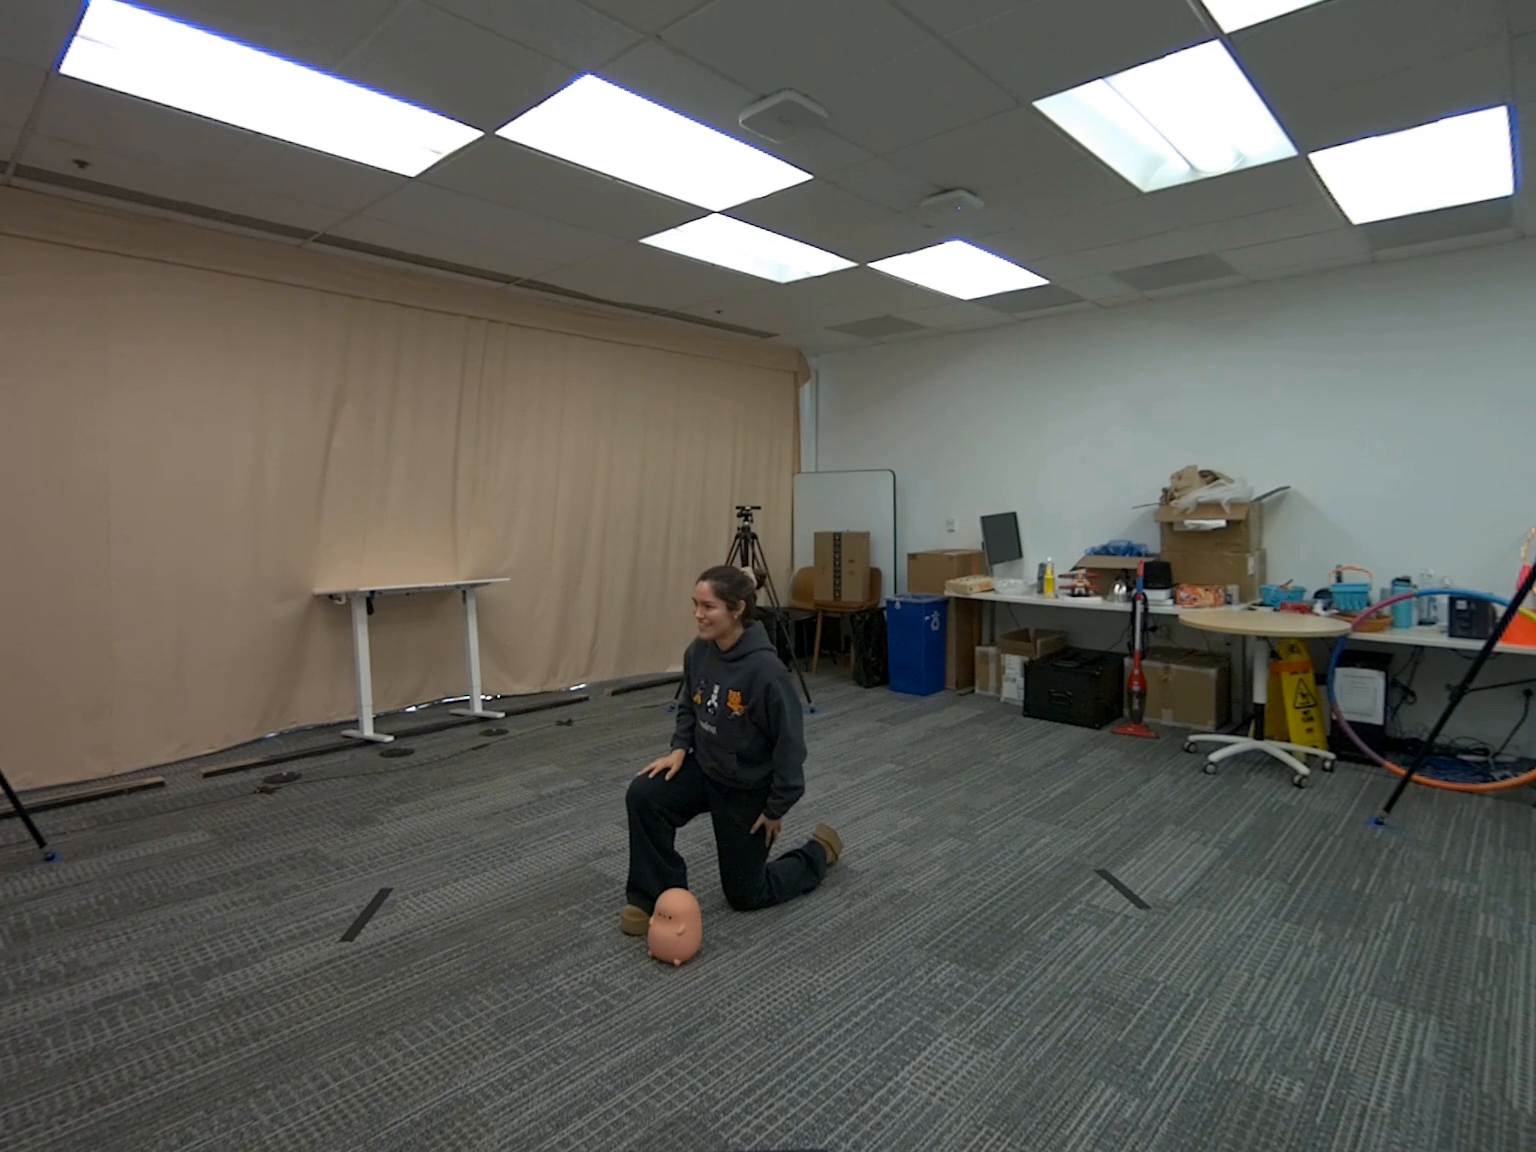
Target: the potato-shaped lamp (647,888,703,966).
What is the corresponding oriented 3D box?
[{"bbox_3d":[-0.265,1.081,2.611,0.170,0.198,0.166,0,2,41],"label":"potato-shaped lamp"}]
